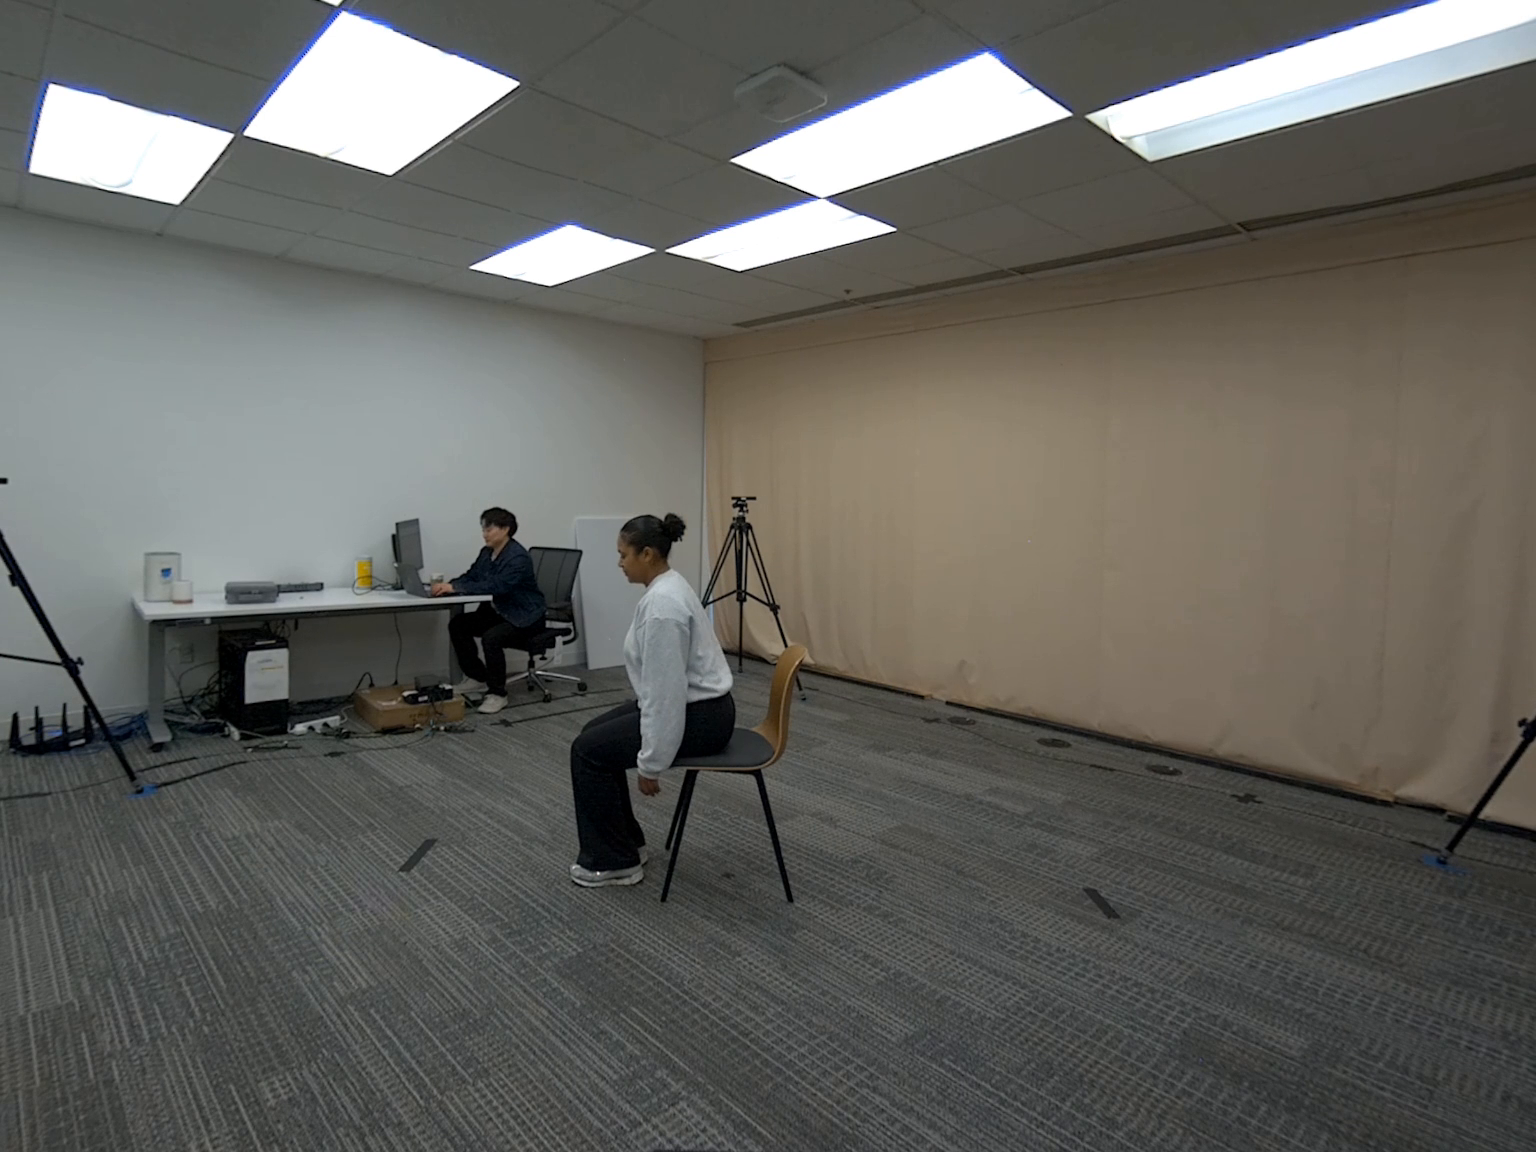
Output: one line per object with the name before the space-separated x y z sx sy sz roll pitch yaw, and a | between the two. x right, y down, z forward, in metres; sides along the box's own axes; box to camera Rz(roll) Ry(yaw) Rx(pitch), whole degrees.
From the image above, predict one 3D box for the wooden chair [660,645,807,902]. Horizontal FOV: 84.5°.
wooden chair | -0.162 0.679 3.087 0.521 0.875 0.481 5 4 -5
